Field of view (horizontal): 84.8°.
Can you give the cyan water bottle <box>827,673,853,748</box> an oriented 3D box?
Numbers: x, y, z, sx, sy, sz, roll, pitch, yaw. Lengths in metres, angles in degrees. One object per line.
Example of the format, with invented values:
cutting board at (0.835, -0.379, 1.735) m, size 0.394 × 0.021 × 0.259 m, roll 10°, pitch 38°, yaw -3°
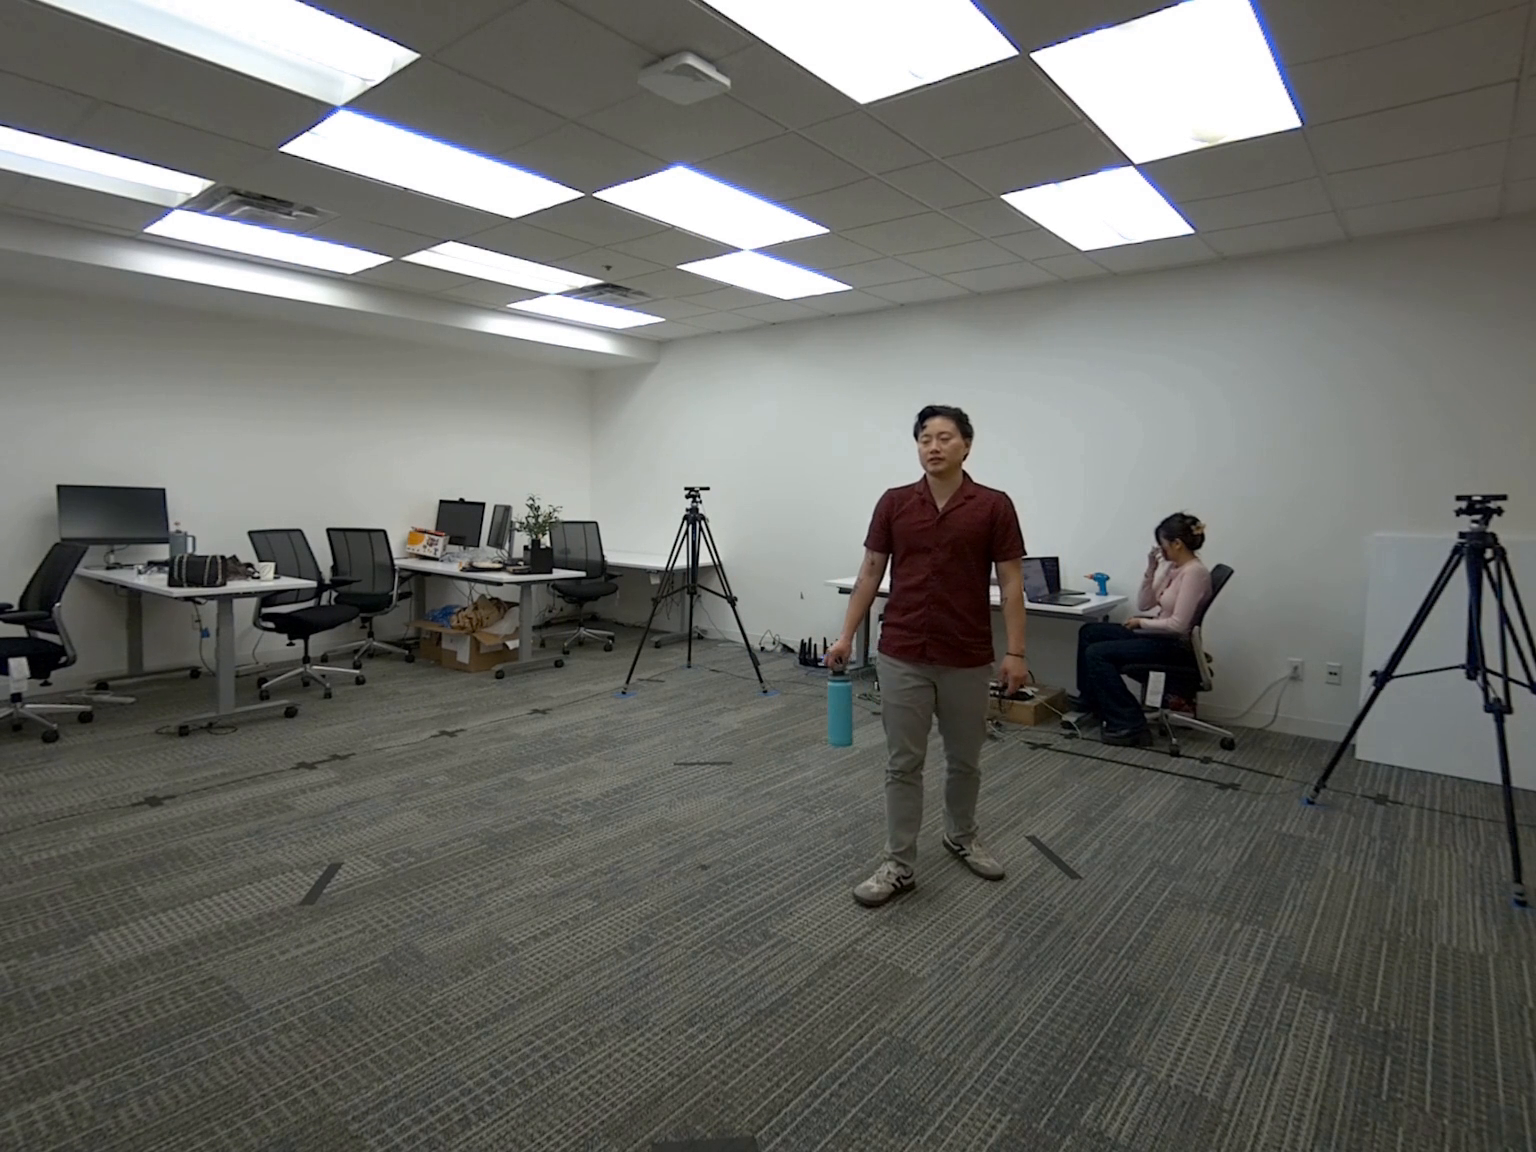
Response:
cyan water bottle at (0.256, 0.463, 3.053) m, size 0.092 × 0.284 × 0.092 m, roll -2°, pitch -3°, yaw -2°
